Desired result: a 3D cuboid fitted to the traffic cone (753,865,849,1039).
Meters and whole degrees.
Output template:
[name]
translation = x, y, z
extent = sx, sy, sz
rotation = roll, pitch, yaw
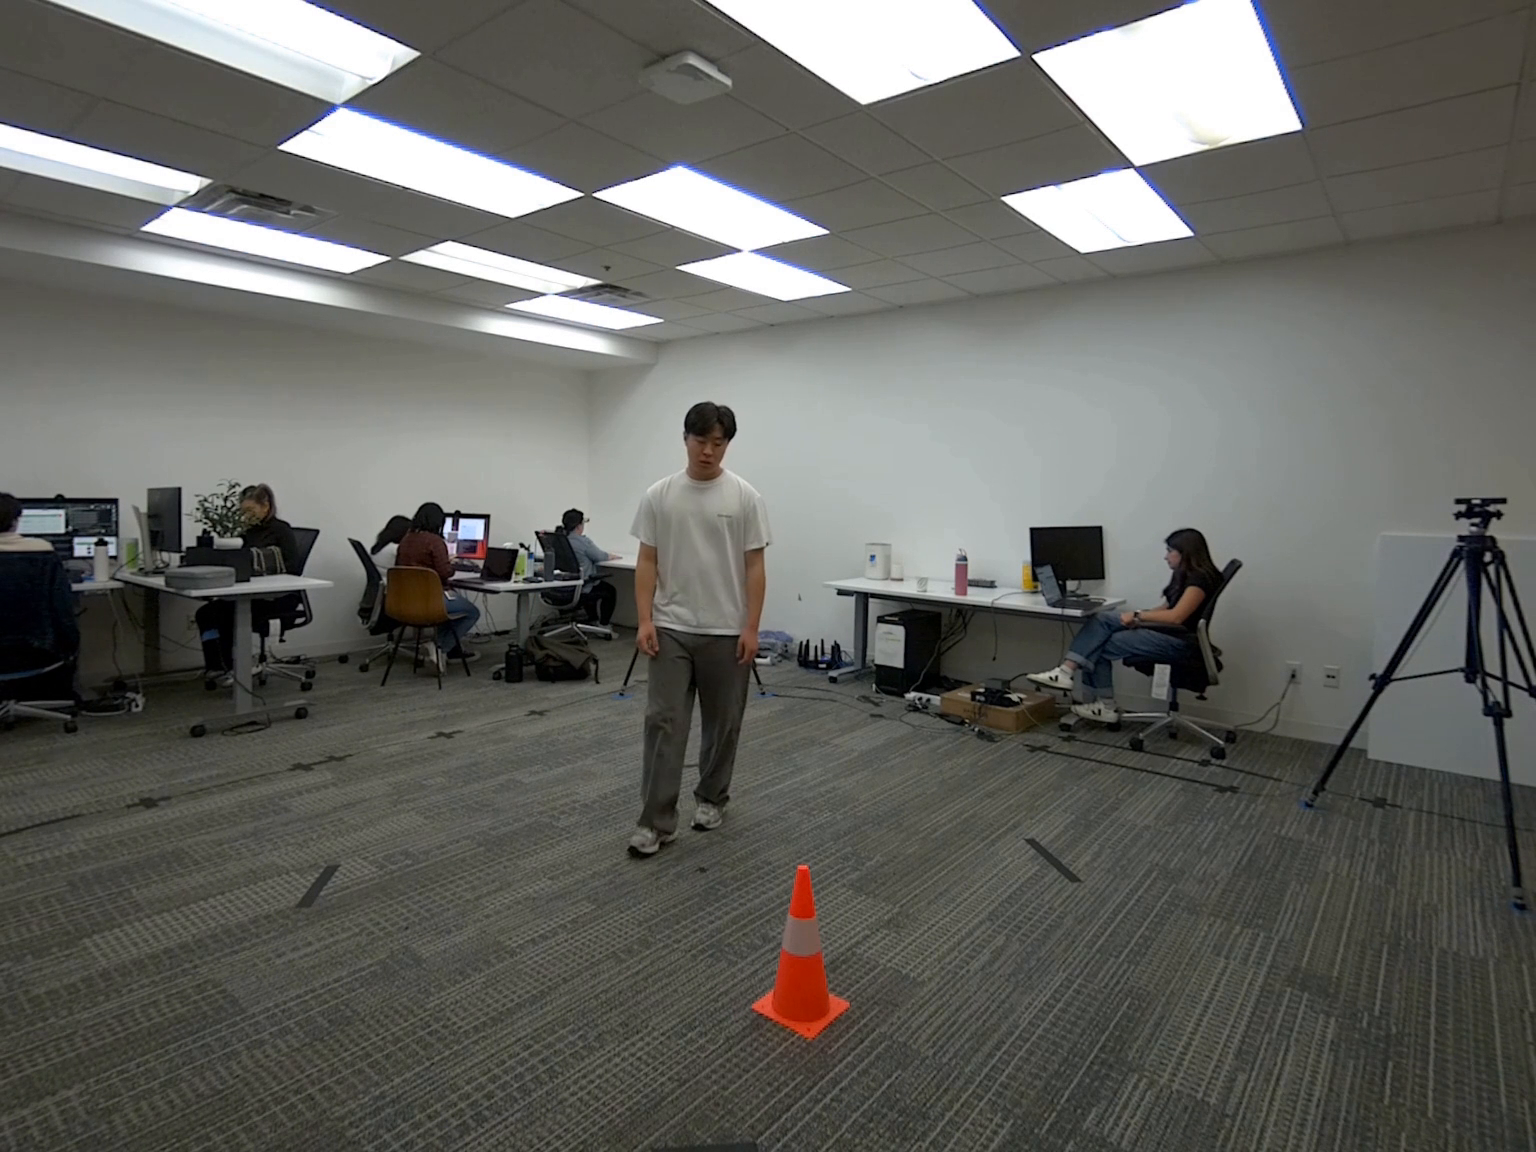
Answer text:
[traffic cone]
translation = 0.099, 0.975, 2.273
extent = 0.212, 0.381, 0.198
rotation = 5, 9, 36
